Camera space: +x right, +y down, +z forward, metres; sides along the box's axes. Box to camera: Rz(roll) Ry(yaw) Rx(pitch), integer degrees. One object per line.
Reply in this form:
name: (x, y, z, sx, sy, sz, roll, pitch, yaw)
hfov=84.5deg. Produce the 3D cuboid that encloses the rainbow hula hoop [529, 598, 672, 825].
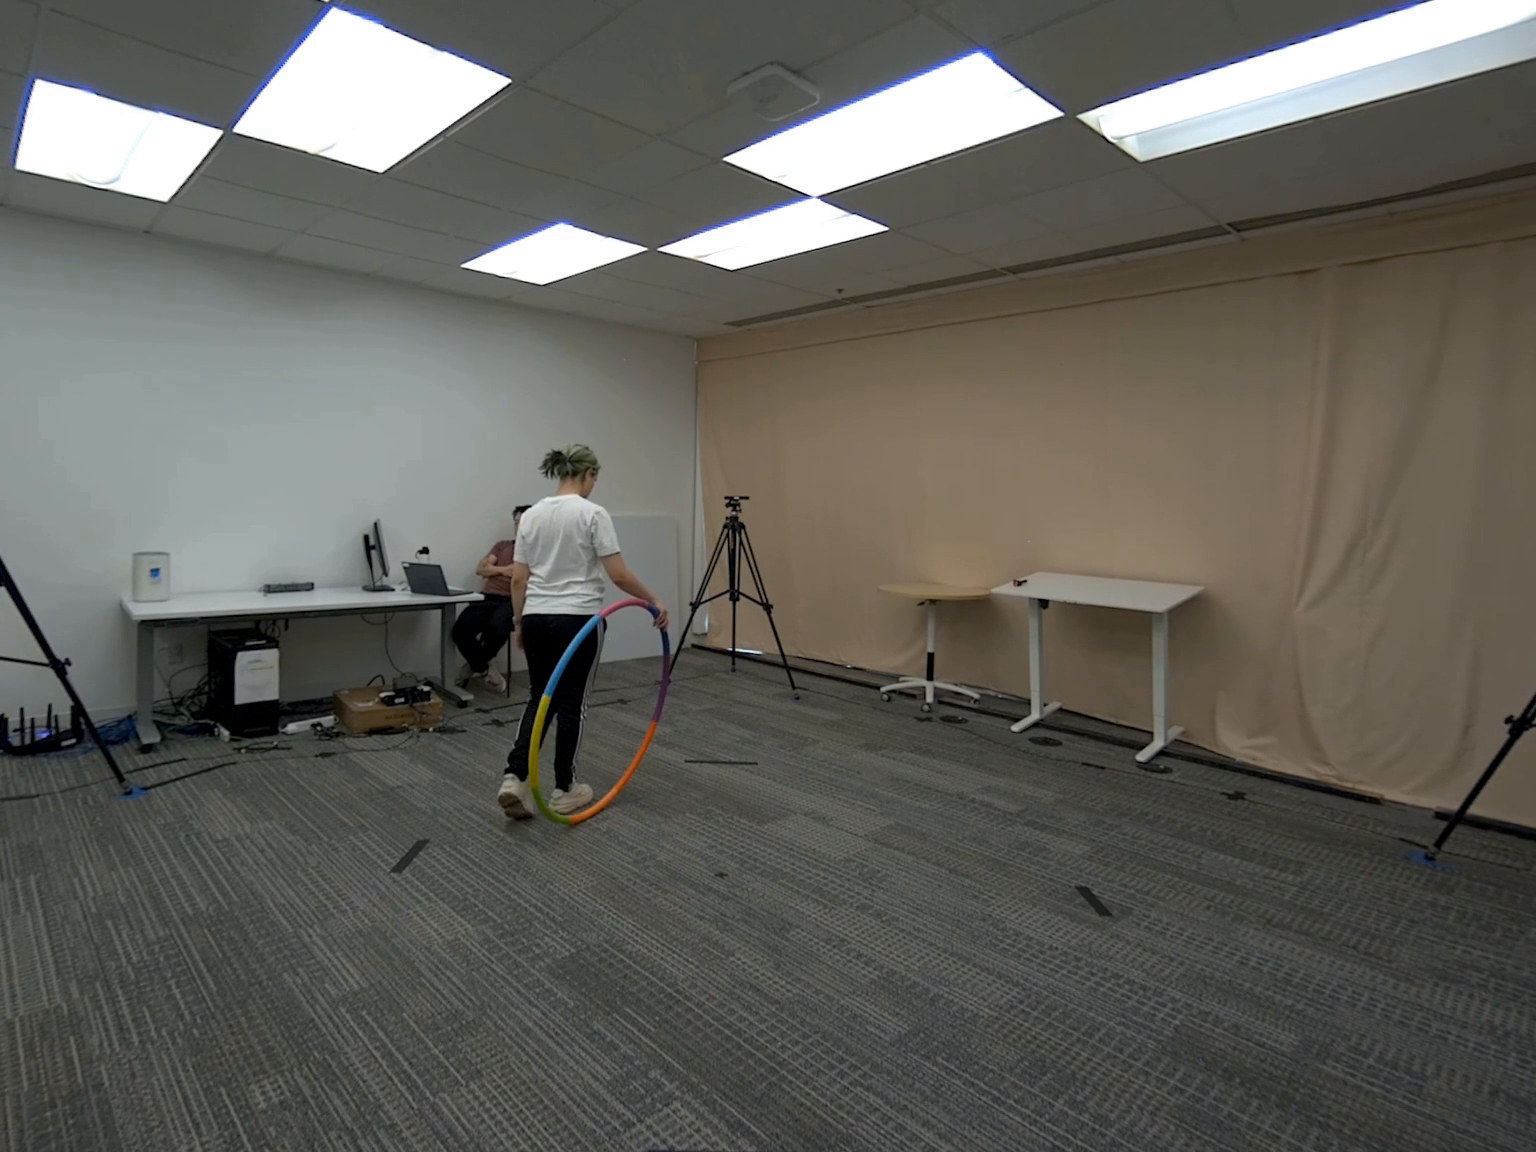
rainbow hula hoop: (-0.687, 0.565, 3.567, 0.036, 0.974, 0.964, 14, 9, 20)
